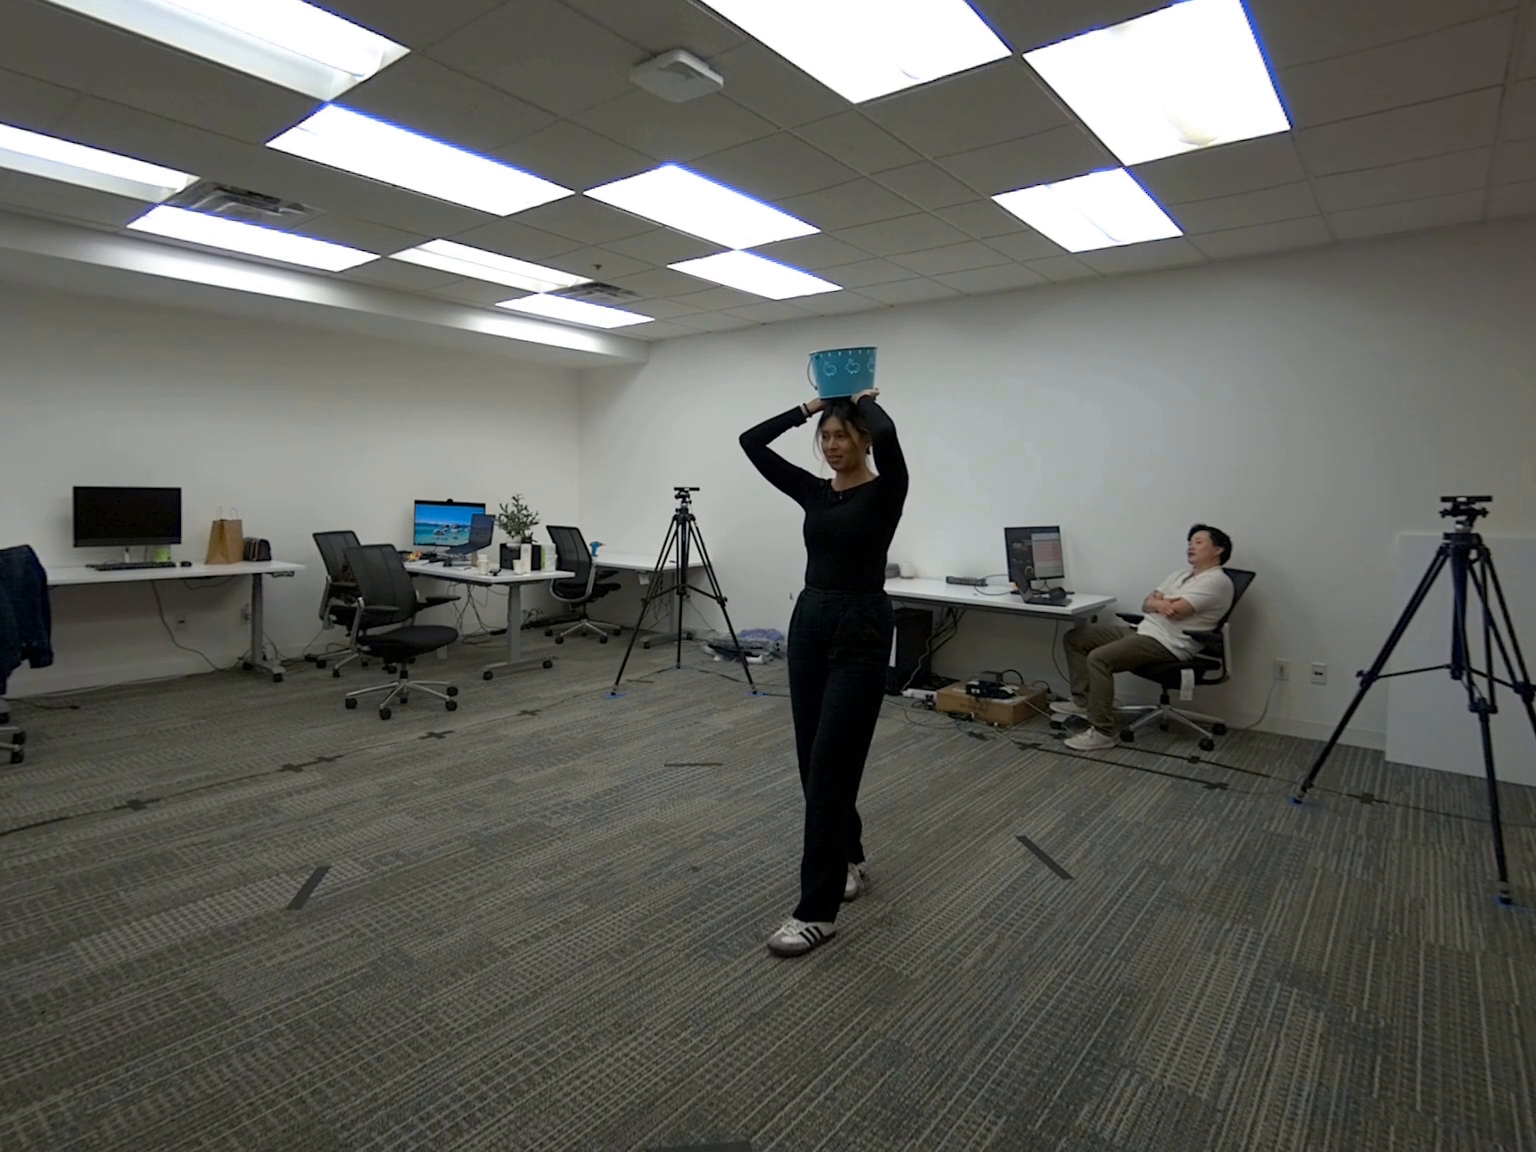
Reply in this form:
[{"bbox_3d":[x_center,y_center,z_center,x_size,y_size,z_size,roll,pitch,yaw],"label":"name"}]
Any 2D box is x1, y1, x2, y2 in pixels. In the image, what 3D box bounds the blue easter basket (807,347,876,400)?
[{"bbox_3d":[0.253,-0.680,2.839,0.243,0.154,0.246,-2,10,-2],"label":"blue easter basket"}]
